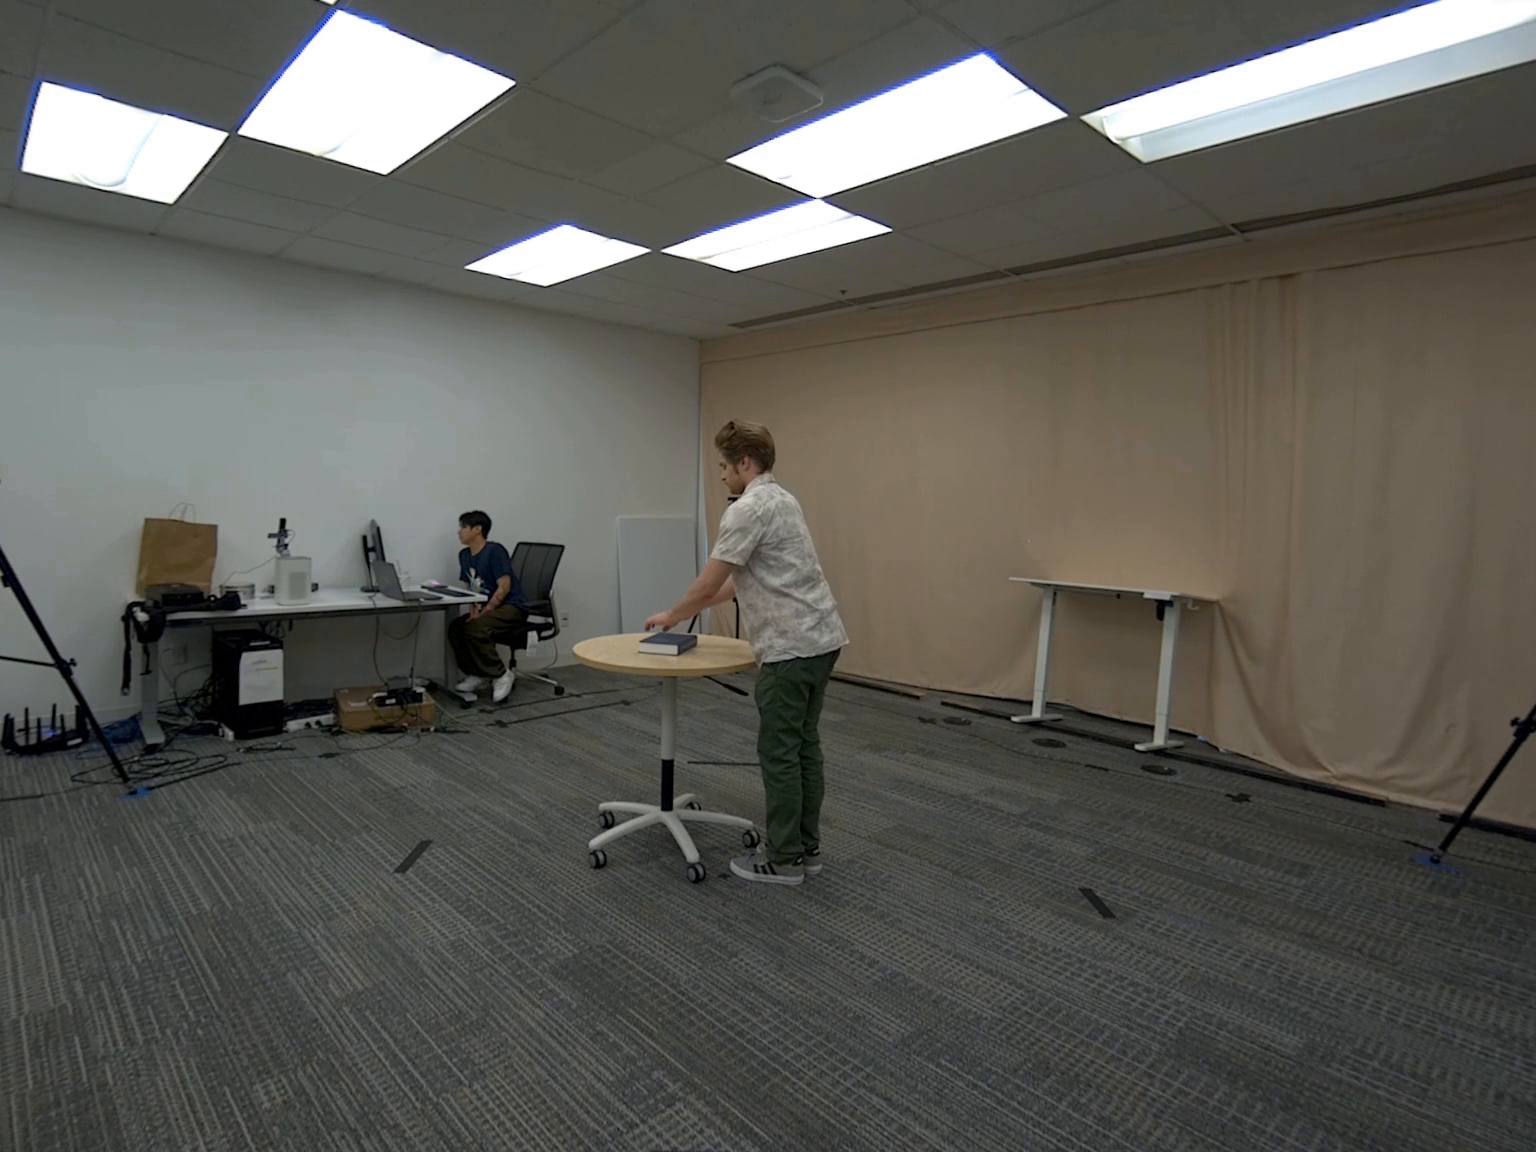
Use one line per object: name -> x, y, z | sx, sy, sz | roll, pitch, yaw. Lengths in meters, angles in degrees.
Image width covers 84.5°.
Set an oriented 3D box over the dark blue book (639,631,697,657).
dark blue book -> -0.405, 0.266, 3.337 | 0.165, 0.045, 0.243 | 3, 6, 13
